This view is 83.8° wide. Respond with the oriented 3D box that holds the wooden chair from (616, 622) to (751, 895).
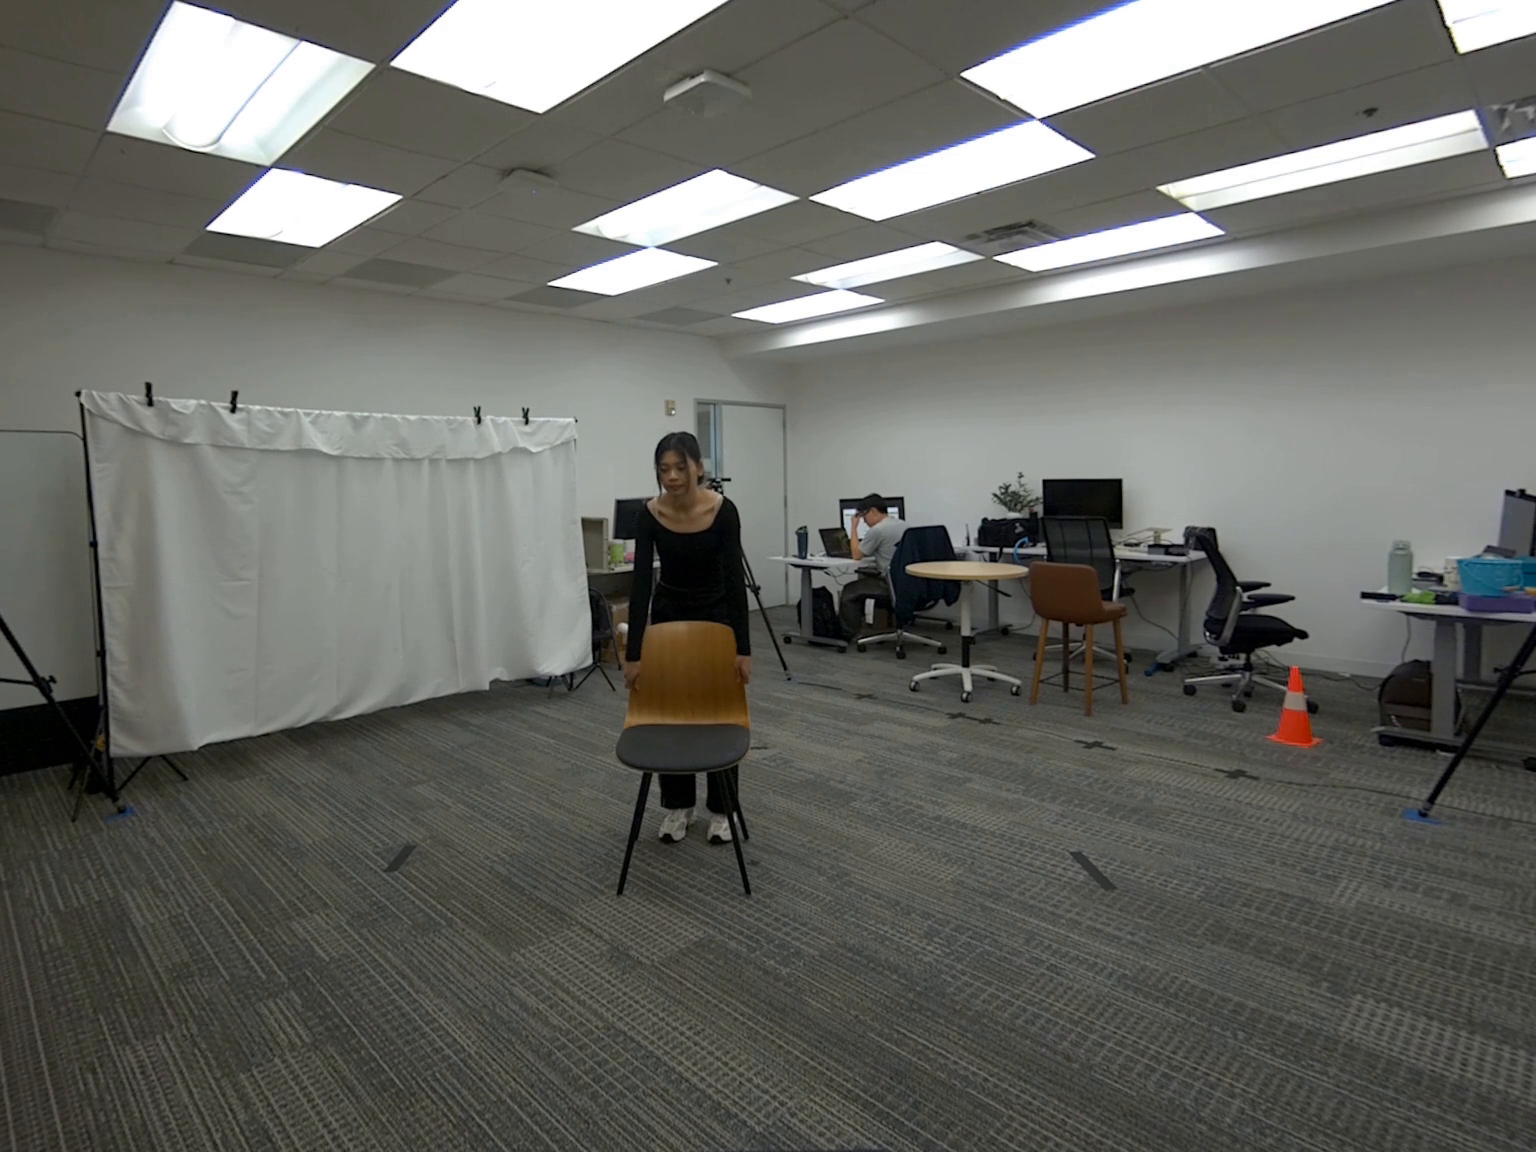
[{"bbox_3d":[-0.292,0.625,3.051,0.478,0.878,0.523,0,0,-1],"label":"wooden chair"}]
